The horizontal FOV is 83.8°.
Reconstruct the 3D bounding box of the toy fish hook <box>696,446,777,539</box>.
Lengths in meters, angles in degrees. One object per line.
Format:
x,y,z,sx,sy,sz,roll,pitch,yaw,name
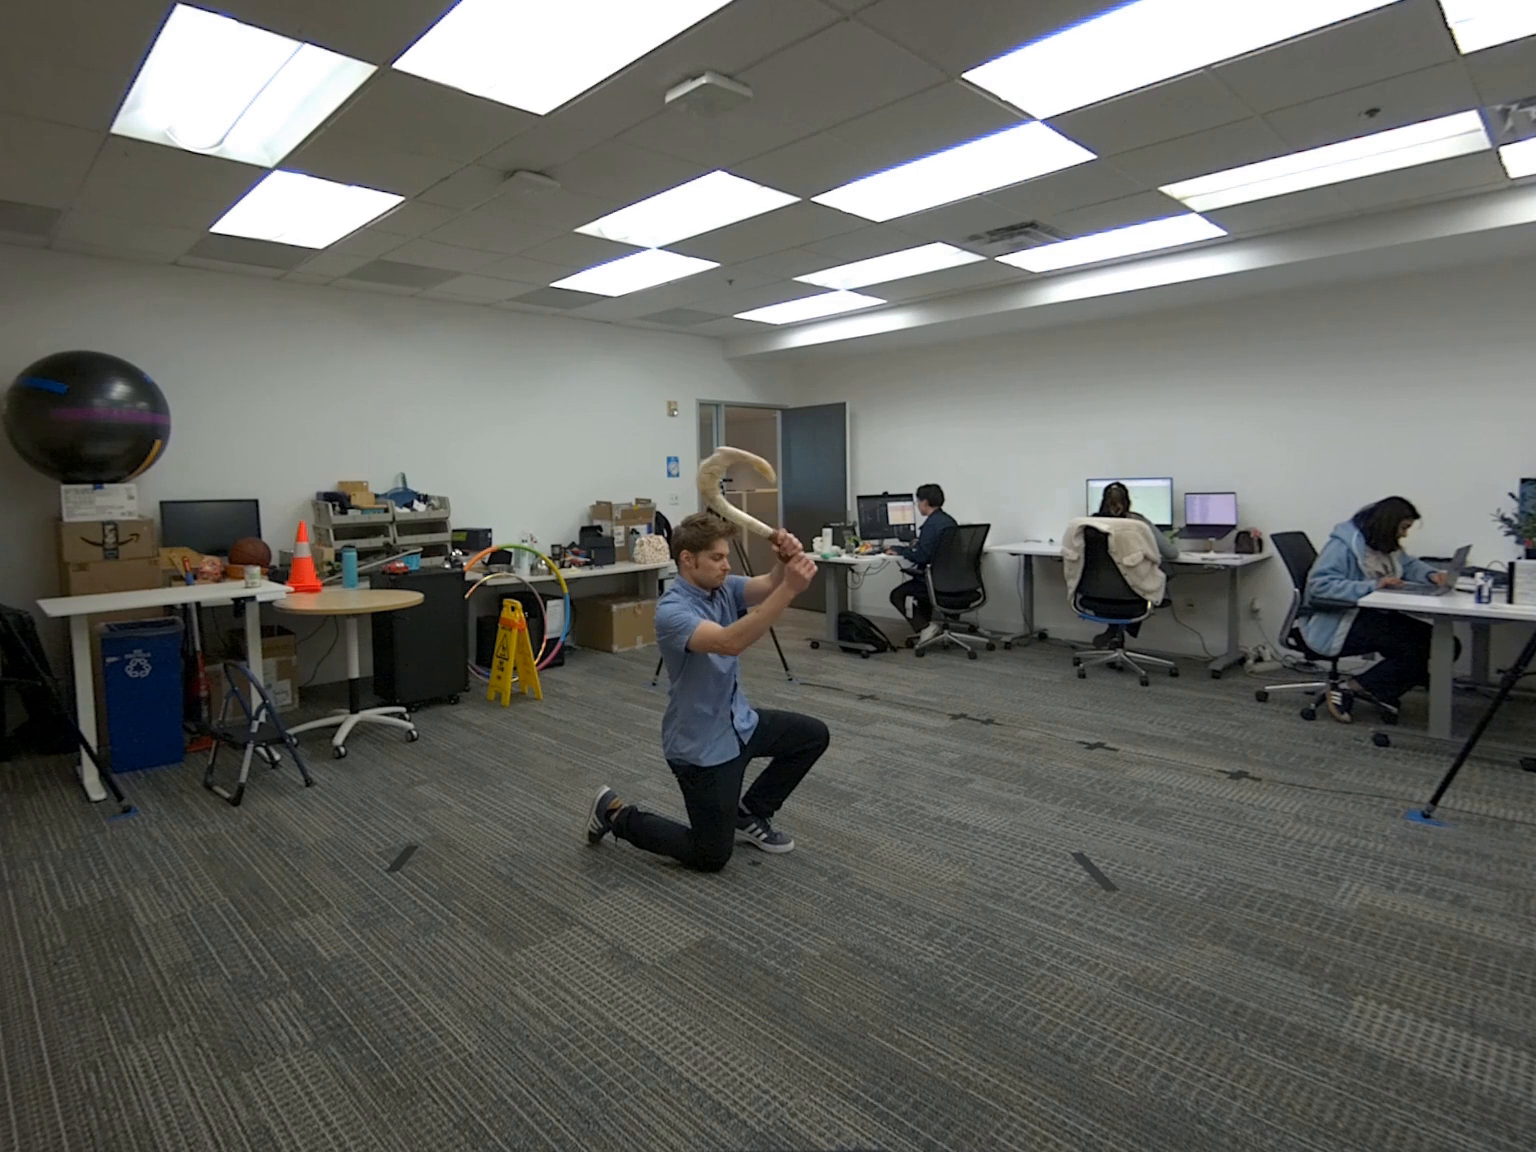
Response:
0.004,-0.173,2.651,0.225,0.497,0.049,-40,16,21,toy fish hook
